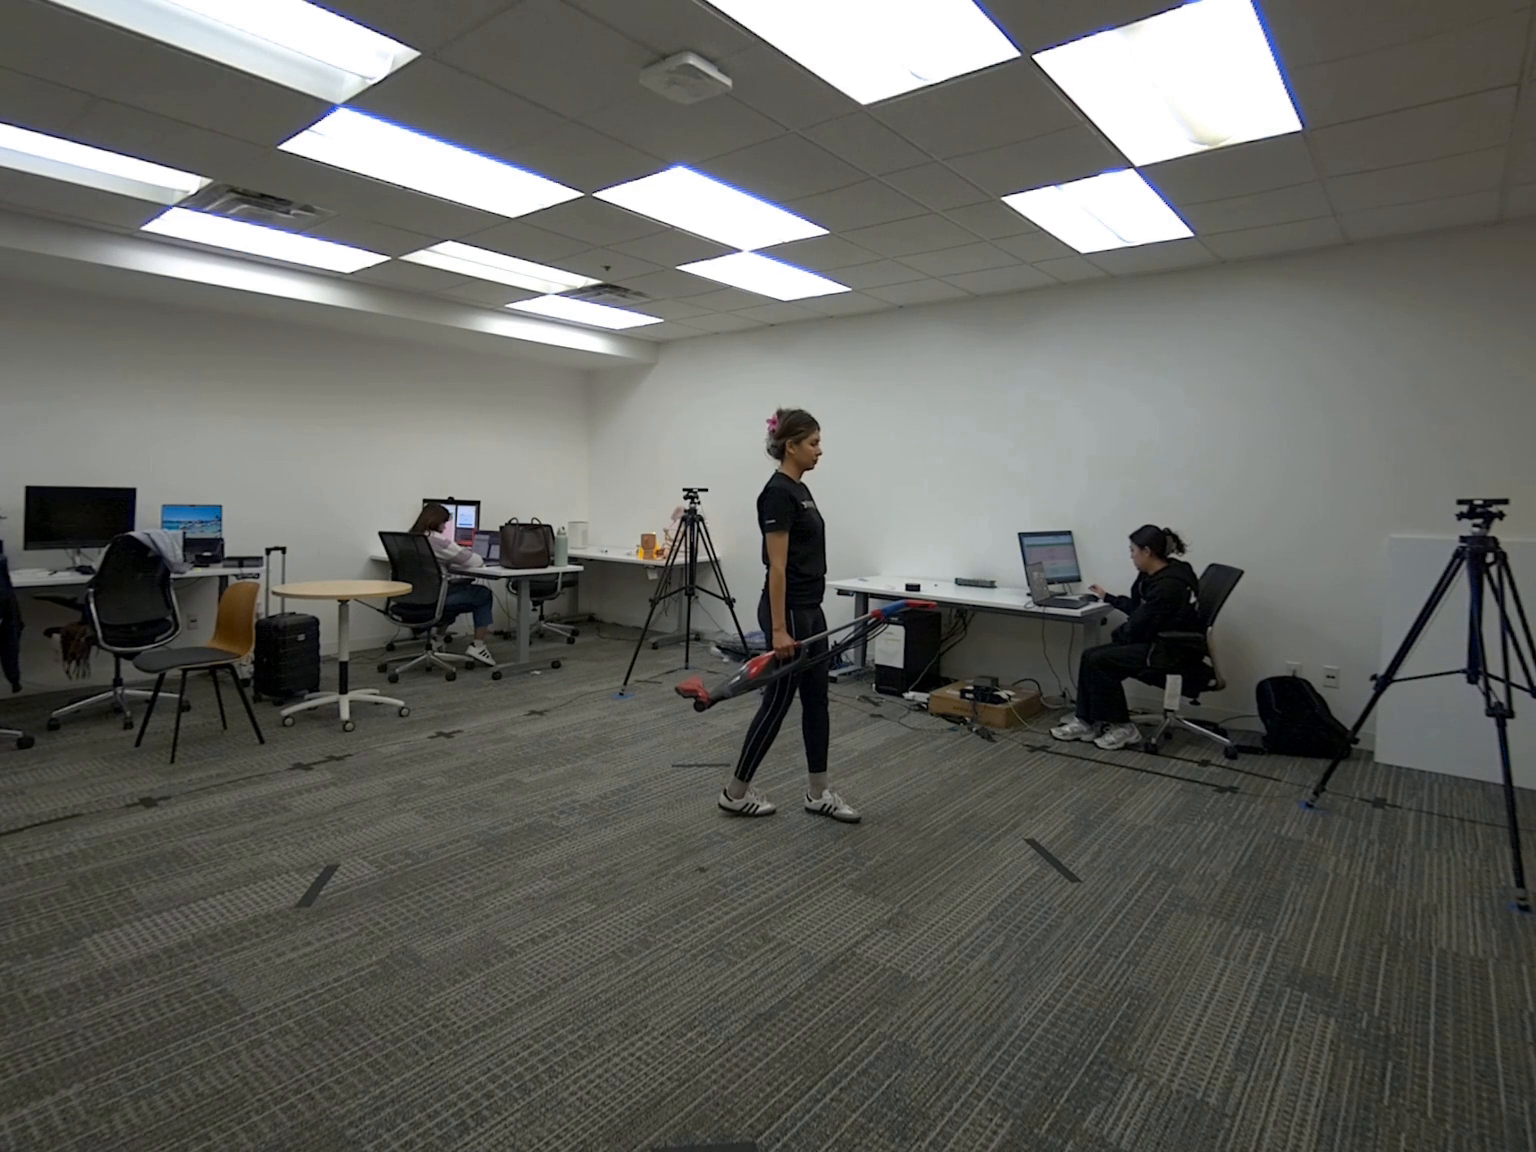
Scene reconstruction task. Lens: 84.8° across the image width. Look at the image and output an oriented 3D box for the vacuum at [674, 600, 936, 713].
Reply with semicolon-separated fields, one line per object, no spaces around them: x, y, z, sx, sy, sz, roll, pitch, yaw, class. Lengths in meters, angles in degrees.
0.143;0.308;3.353;1.060;0.144;0.249;-22;-1;17;vacuum
